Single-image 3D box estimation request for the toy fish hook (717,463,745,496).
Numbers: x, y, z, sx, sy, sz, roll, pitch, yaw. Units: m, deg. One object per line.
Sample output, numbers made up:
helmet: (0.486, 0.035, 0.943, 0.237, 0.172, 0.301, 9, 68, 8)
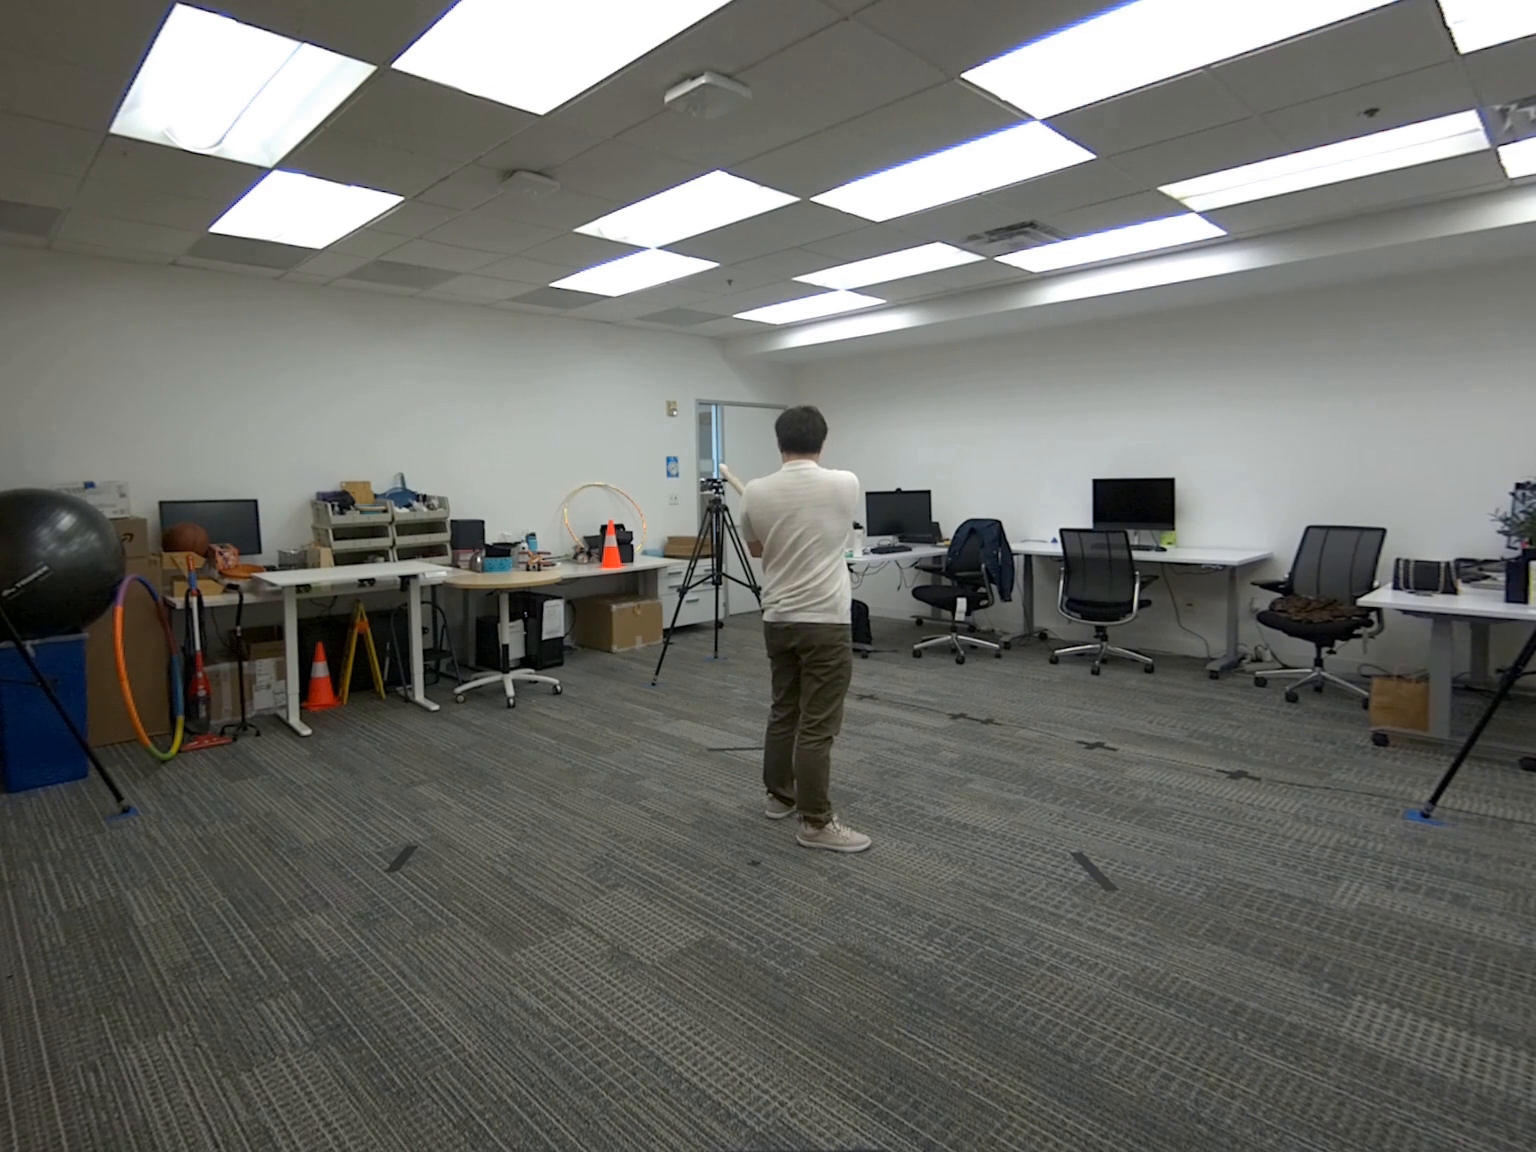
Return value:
toy fish hook: (-0.040, -0.312, 3.873, 0.048, 0.514, 0.221, -40, -10, 9)
